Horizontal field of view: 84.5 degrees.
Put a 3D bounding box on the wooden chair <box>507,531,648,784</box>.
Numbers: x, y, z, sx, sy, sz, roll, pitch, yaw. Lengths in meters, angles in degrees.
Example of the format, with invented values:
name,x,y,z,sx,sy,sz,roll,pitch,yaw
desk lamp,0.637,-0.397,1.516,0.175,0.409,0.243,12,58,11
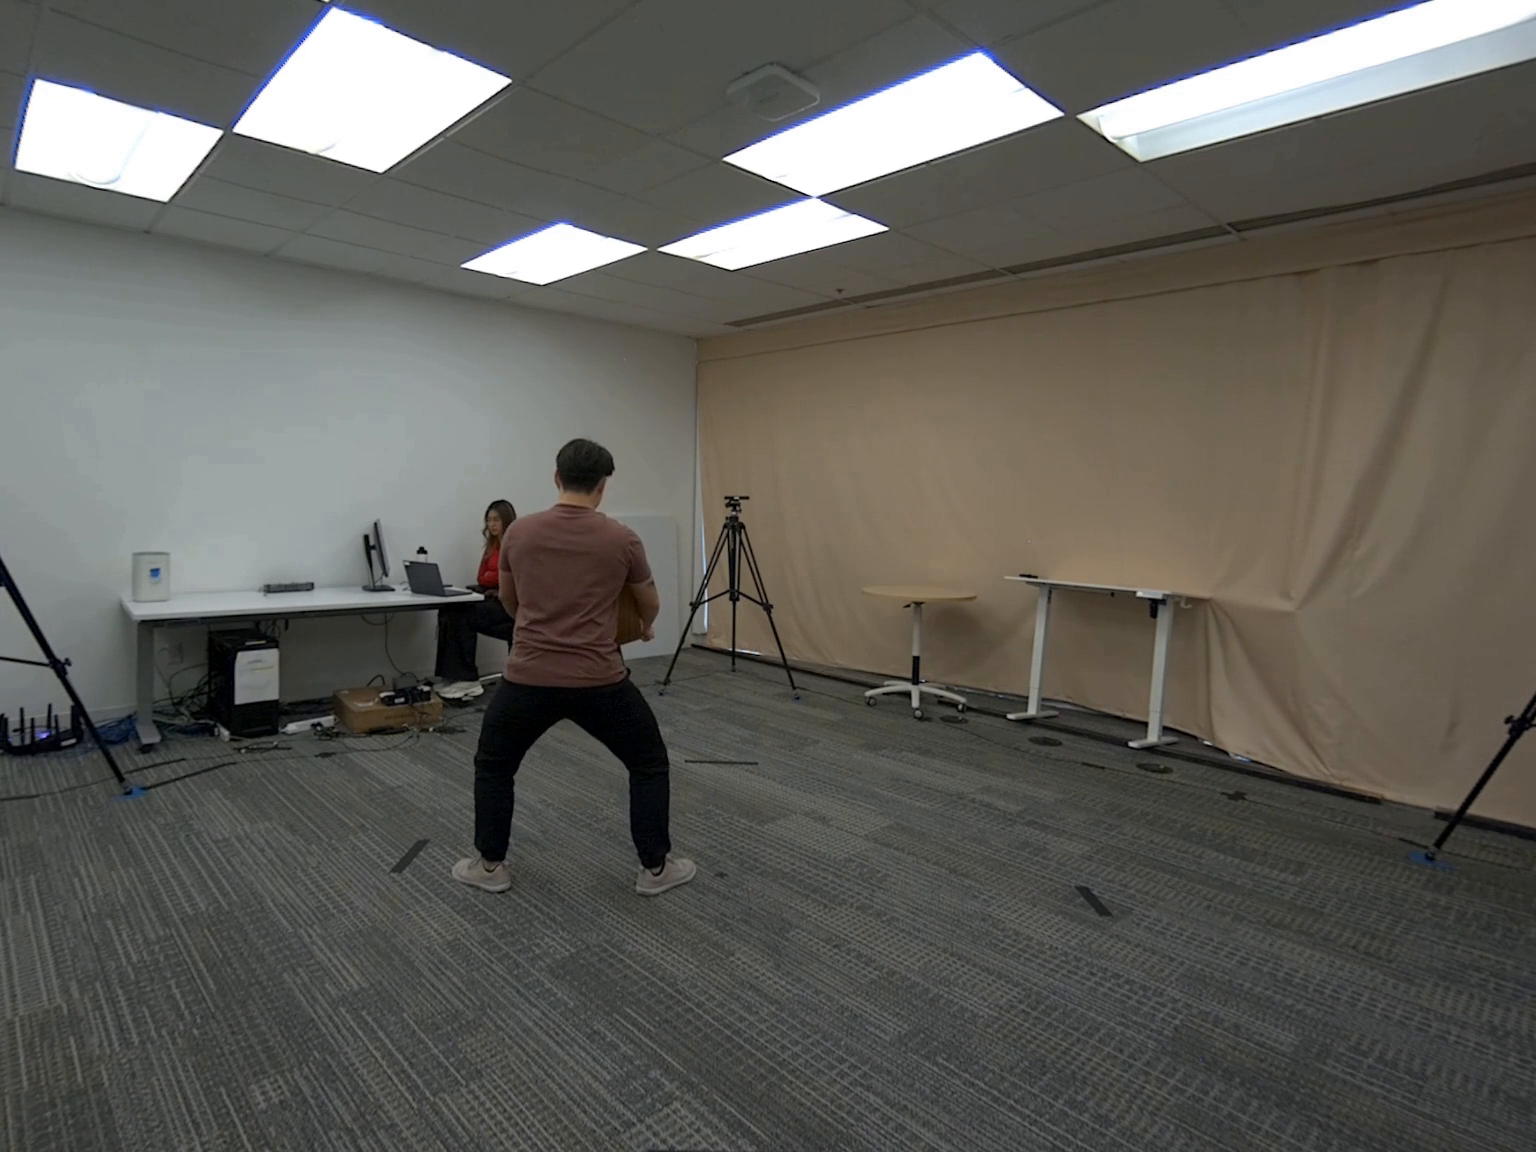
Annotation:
name,x,y,z,sx,sy,sz,roll,pitch,yaw
wooden chair,-0.734,0.283,3.321,0.476,0.872,0.528,2,8,-6
